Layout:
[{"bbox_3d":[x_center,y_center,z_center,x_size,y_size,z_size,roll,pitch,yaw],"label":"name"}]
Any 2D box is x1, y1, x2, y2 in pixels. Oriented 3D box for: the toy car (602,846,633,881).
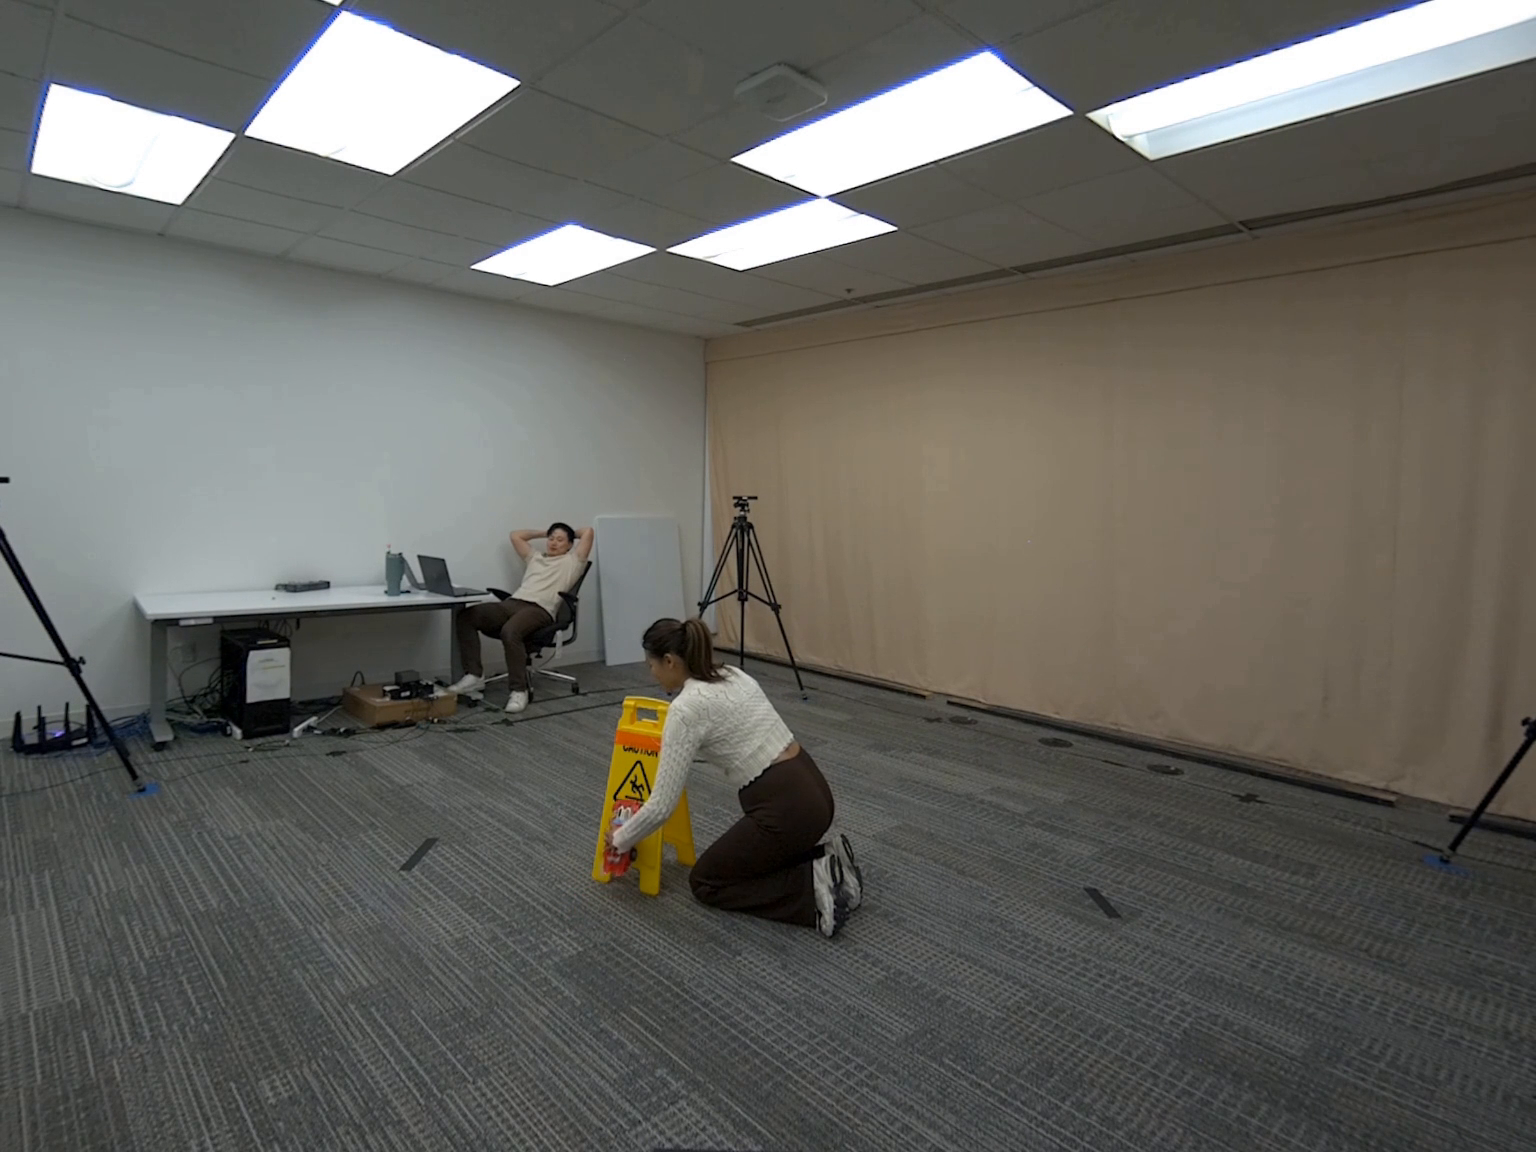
[{"bbox_3d":[-0.514,0.919,2.954,0.133,0.258,0.080,-3,-35,26],"label":"toy car"}]
